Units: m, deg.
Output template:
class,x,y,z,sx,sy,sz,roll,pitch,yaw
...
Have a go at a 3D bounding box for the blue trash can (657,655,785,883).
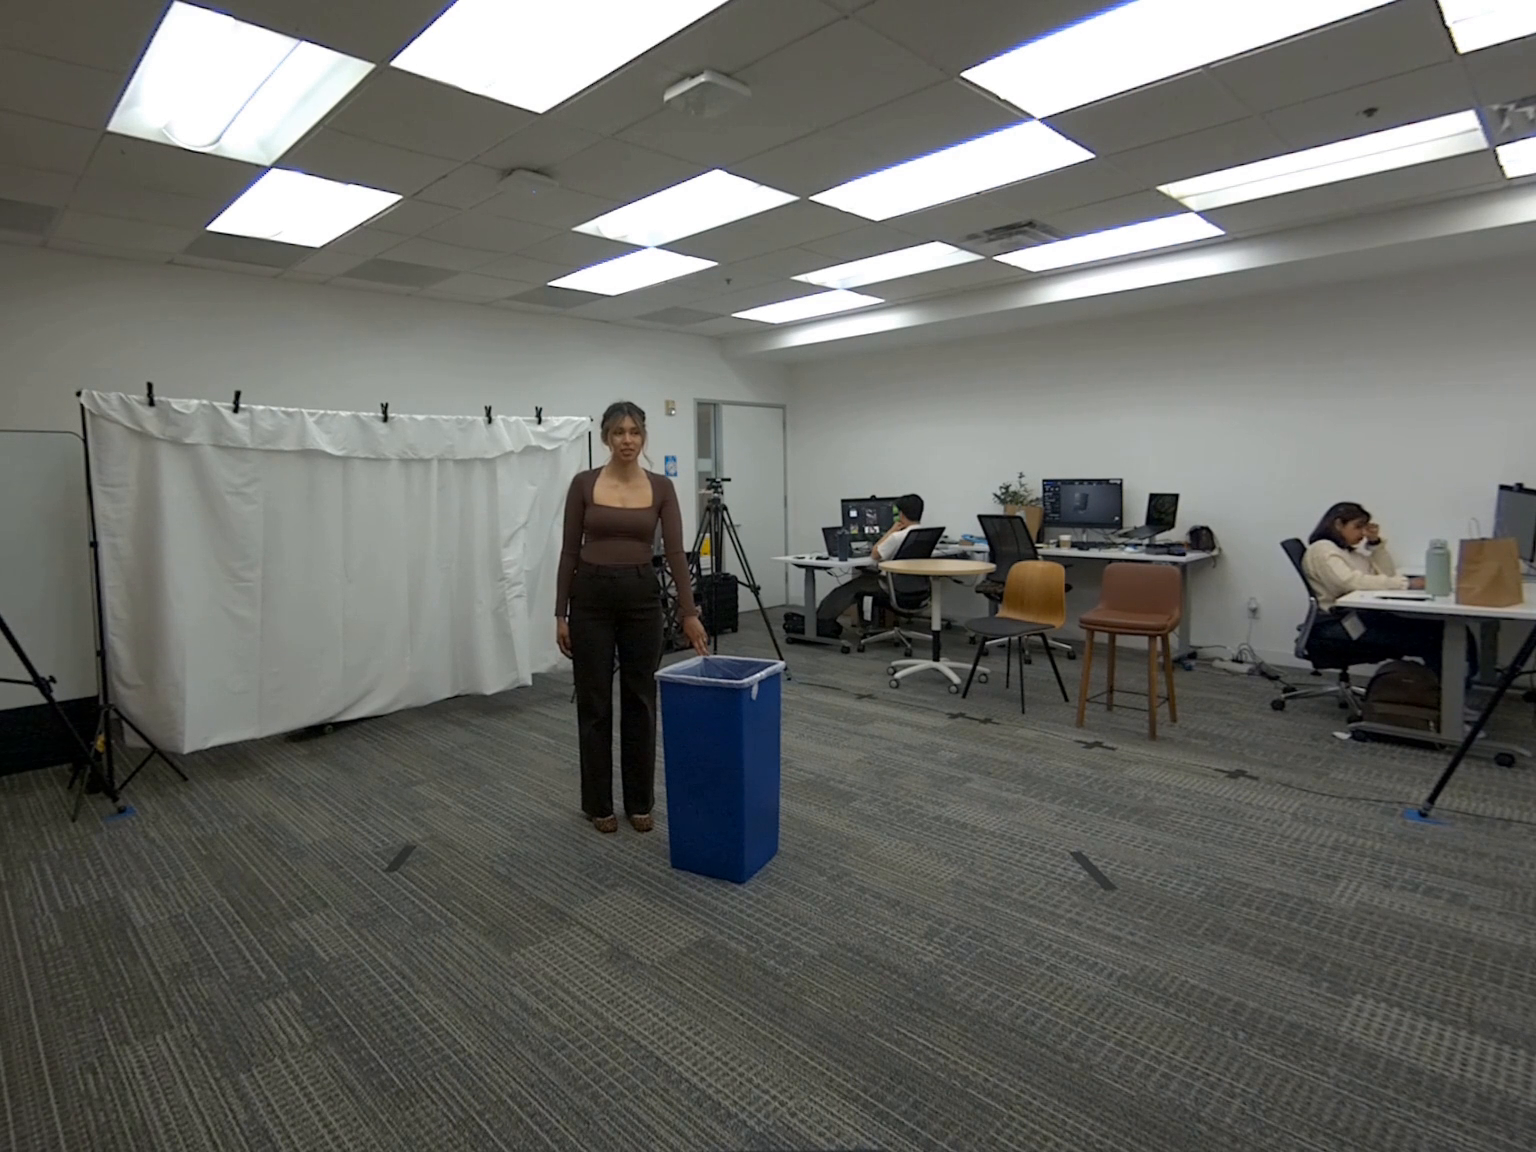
class,x,y,z,sx,sy,sz,roll,pitch,yaw
blue trash can,-0.165,0.683,3.118,0.383,0.711,0.370,2,4,27
